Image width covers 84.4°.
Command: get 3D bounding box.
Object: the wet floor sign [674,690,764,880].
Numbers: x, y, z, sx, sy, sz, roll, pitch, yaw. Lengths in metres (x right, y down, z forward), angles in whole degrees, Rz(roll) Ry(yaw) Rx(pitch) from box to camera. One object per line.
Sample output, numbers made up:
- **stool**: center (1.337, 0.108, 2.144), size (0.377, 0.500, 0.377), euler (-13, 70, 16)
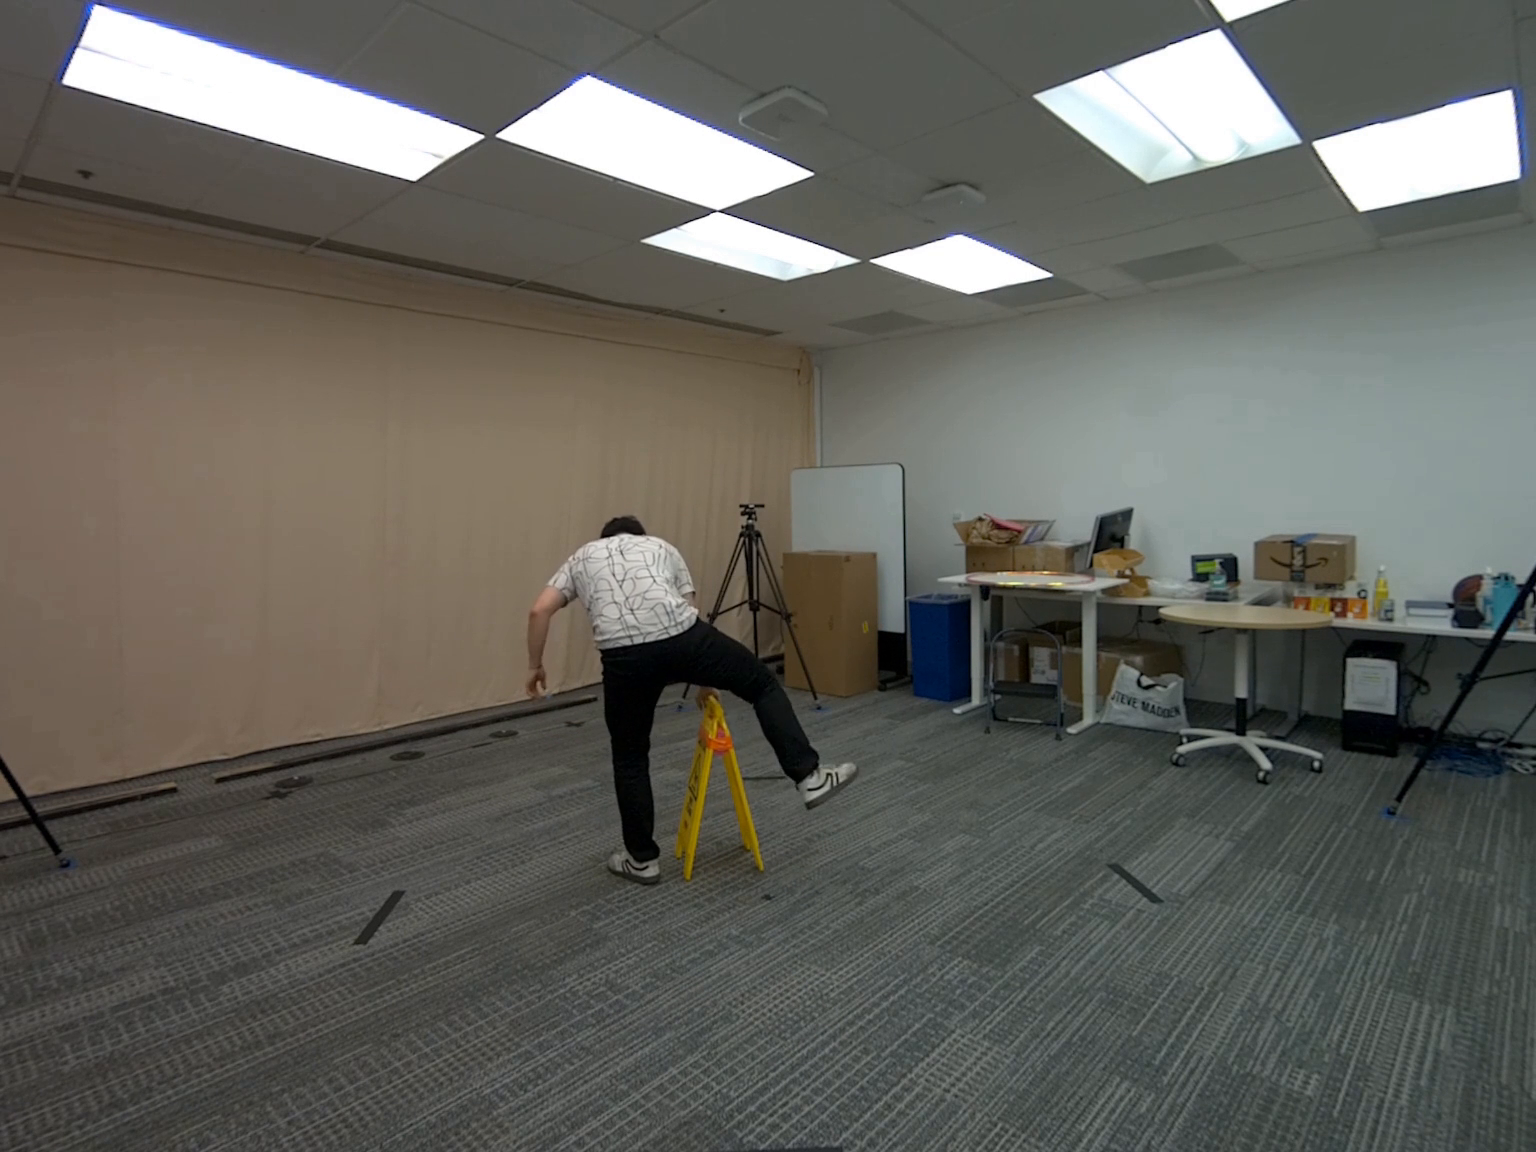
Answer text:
- **wet floor sign**: center (-0.201, 0.791, 3.270), size (0.286, 0.645, 0.287), euler (-2, 3, -14)
